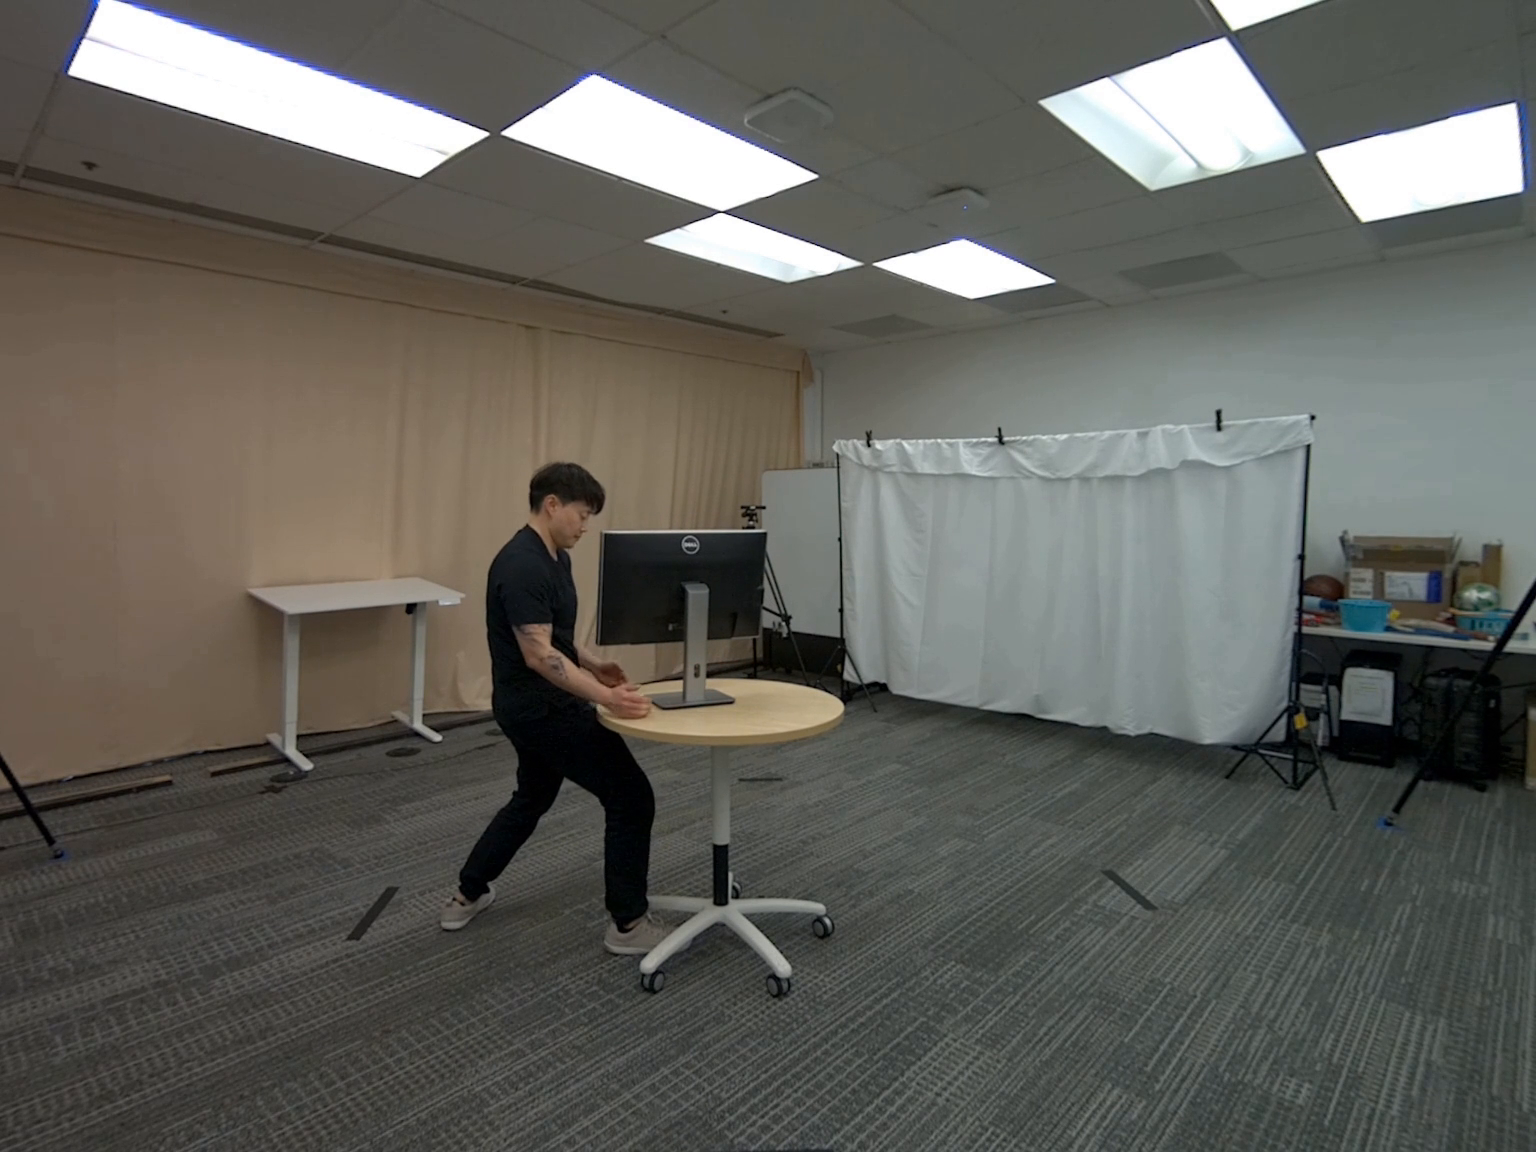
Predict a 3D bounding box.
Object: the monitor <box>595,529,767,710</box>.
[{"bbox_3d":[-0.246,0.131,2.645,0.526,0.522,0.192,-1,1,-25],"label":"monitor"}]
